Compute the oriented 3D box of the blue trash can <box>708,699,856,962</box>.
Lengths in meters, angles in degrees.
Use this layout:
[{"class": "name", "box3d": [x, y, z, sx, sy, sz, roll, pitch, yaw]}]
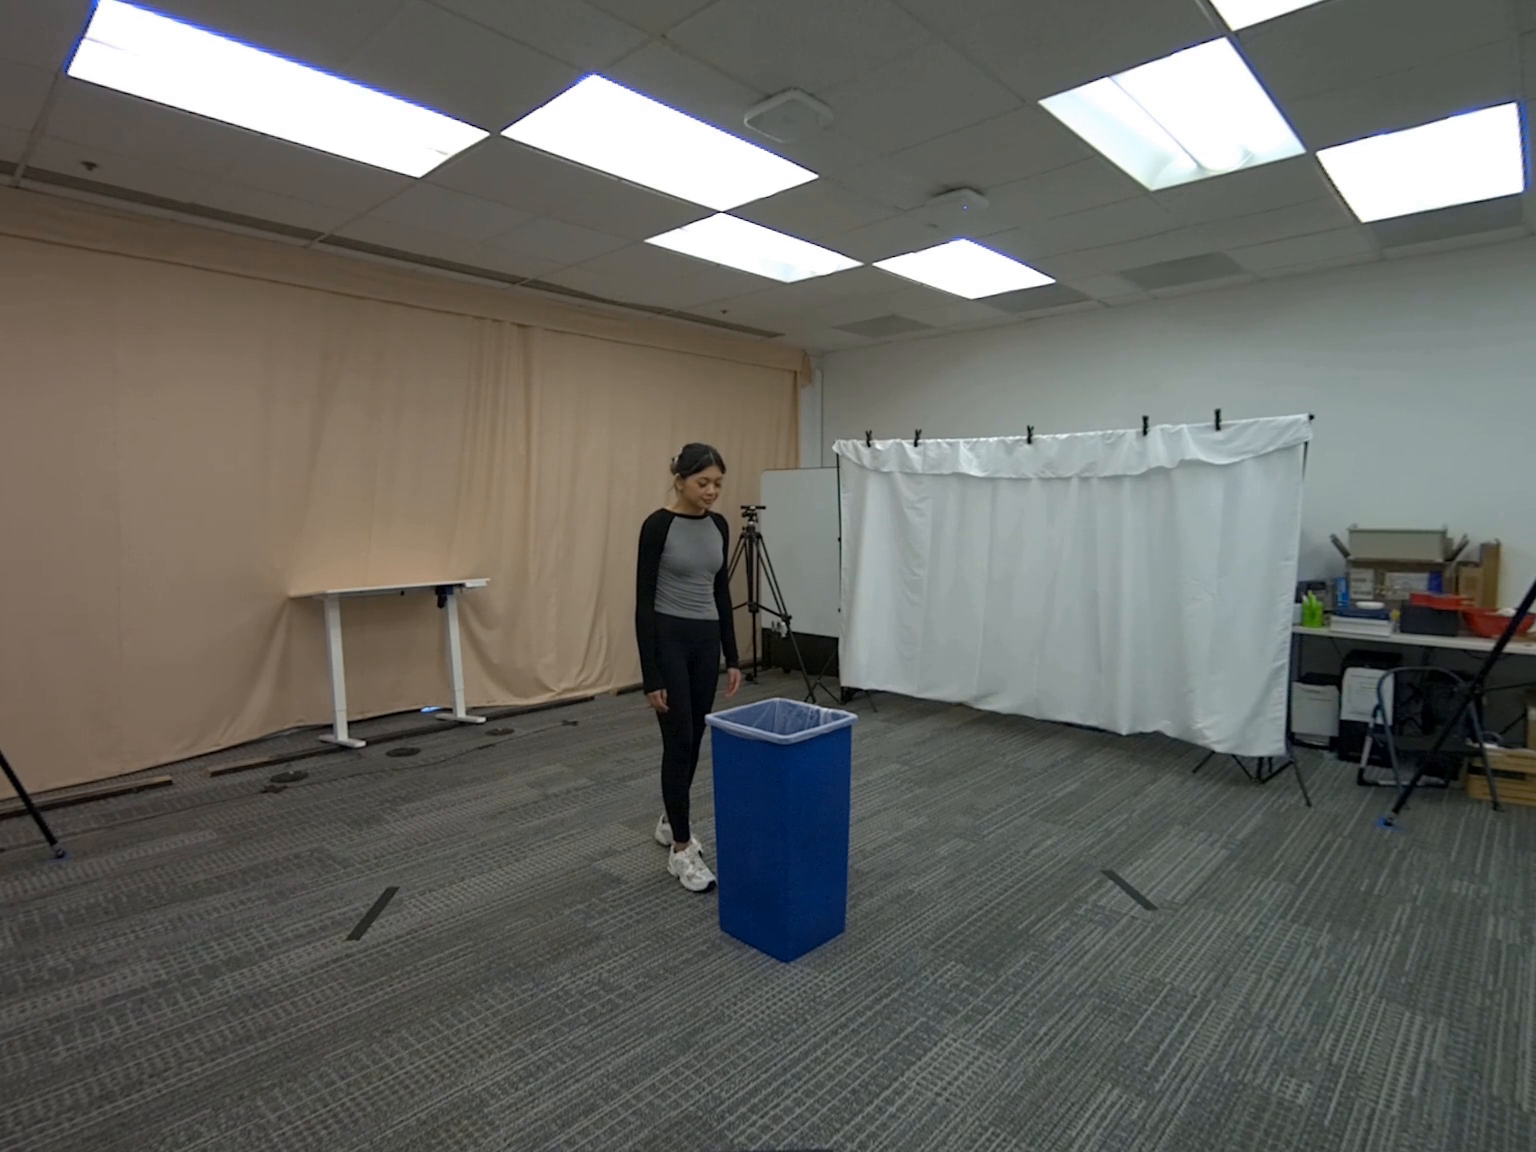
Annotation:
[{"class": "blue trash can", "box3d": [0.049, 0.806, 2.737, 0.391, 0.712, 0.362, 3, 4, 44]}]
